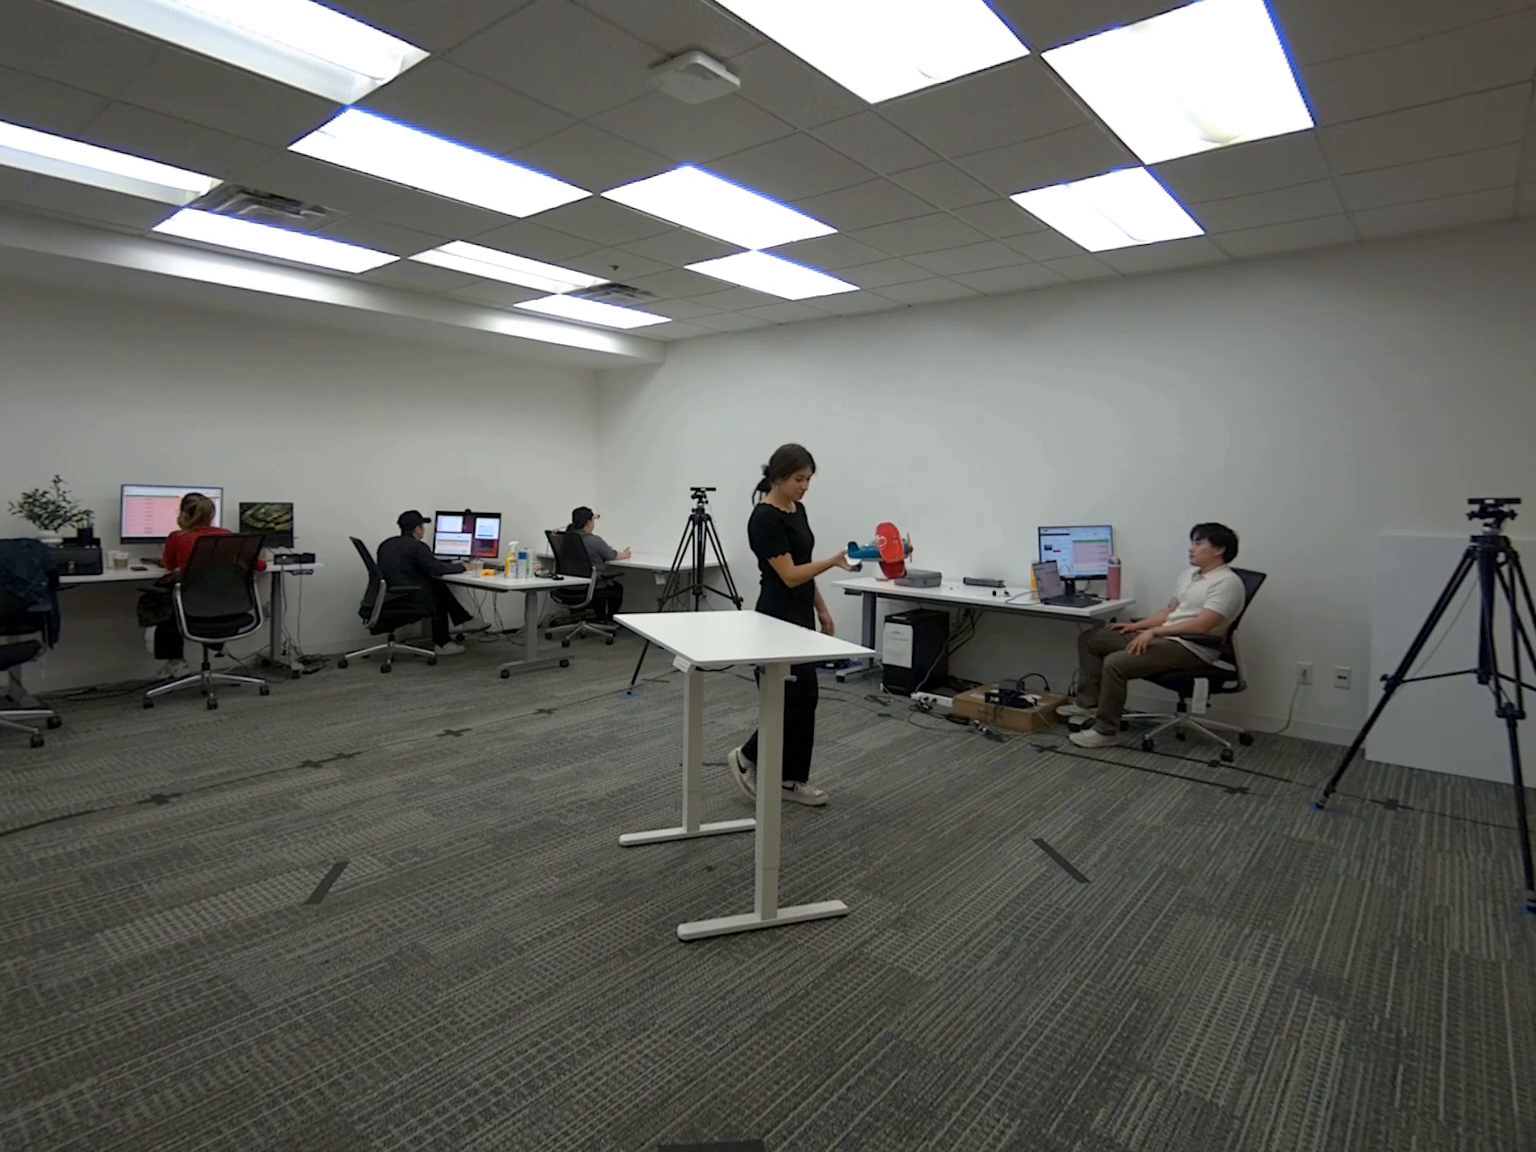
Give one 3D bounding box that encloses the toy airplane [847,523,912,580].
[{"bbox_3d":[0.435,-0.082,3.359,0.254,0.153,0.262,-14,42,-26],"label":"toy airplane"}]
